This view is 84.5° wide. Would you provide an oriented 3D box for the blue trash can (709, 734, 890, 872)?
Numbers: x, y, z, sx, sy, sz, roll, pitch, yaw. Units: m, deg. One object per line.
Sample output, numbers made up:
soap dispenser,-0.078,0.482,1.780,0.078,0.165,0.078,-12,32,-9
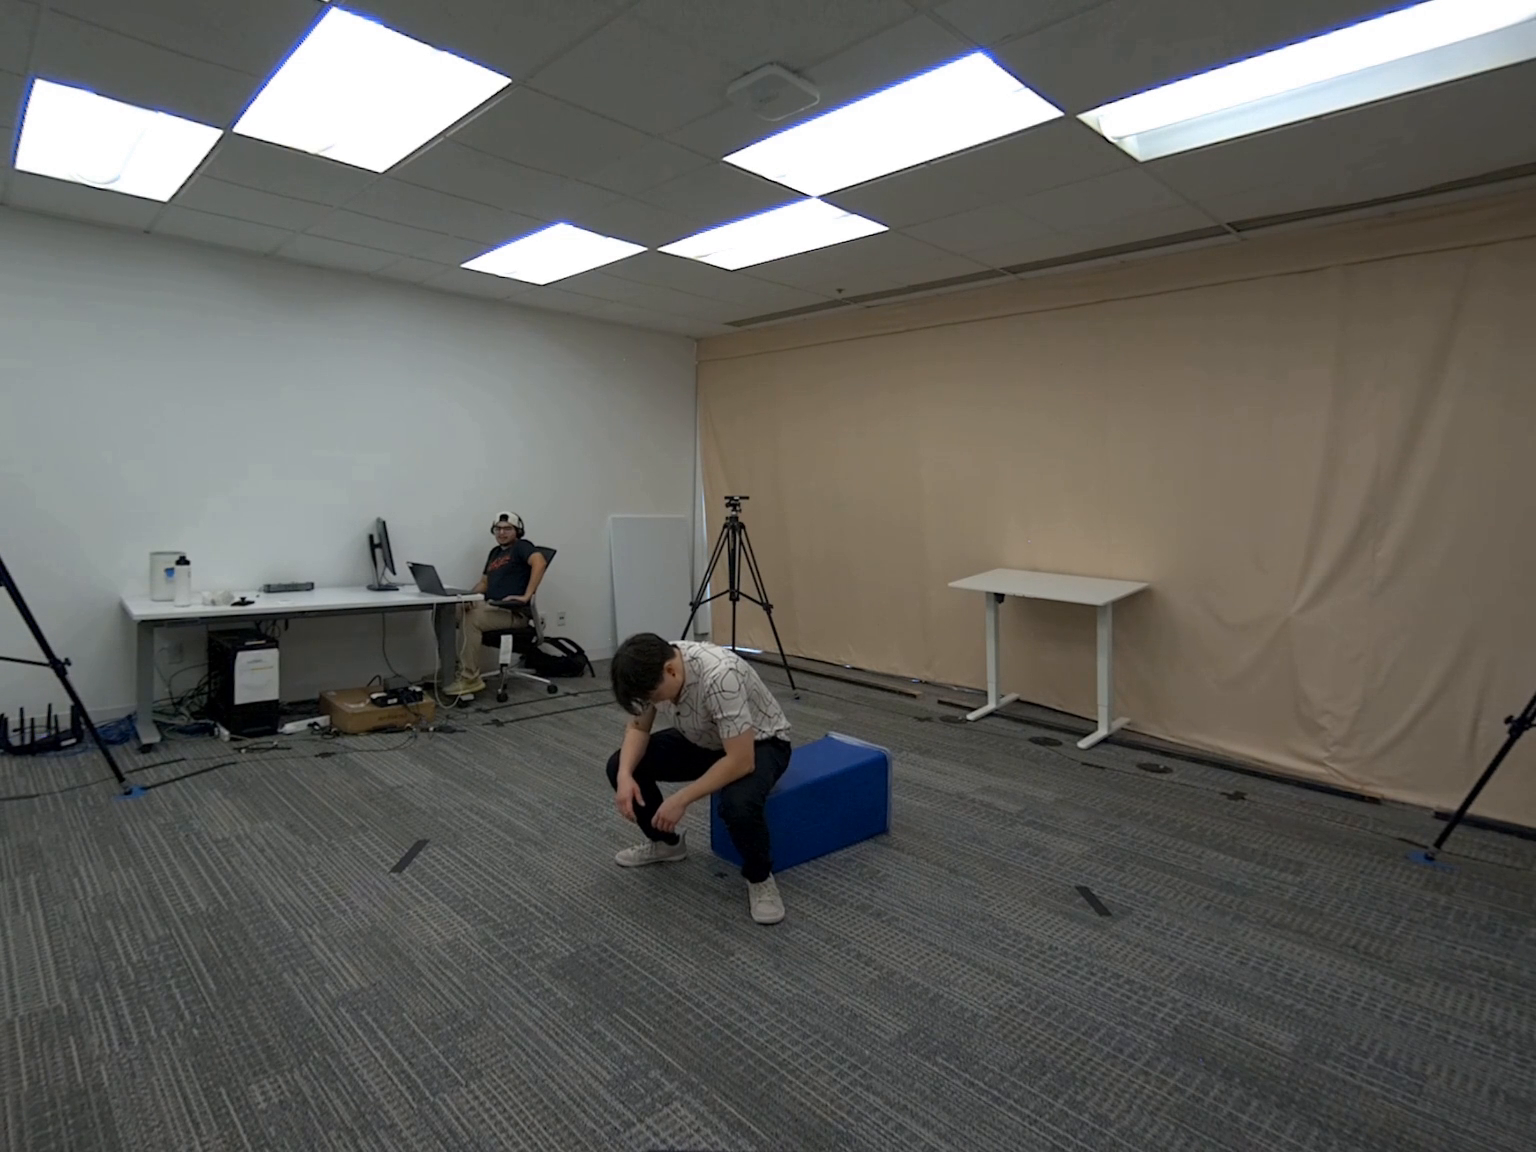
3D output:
blue trash can,0.122,0.910,3.412,0.698,0.377,0.384,-5,7,-41
